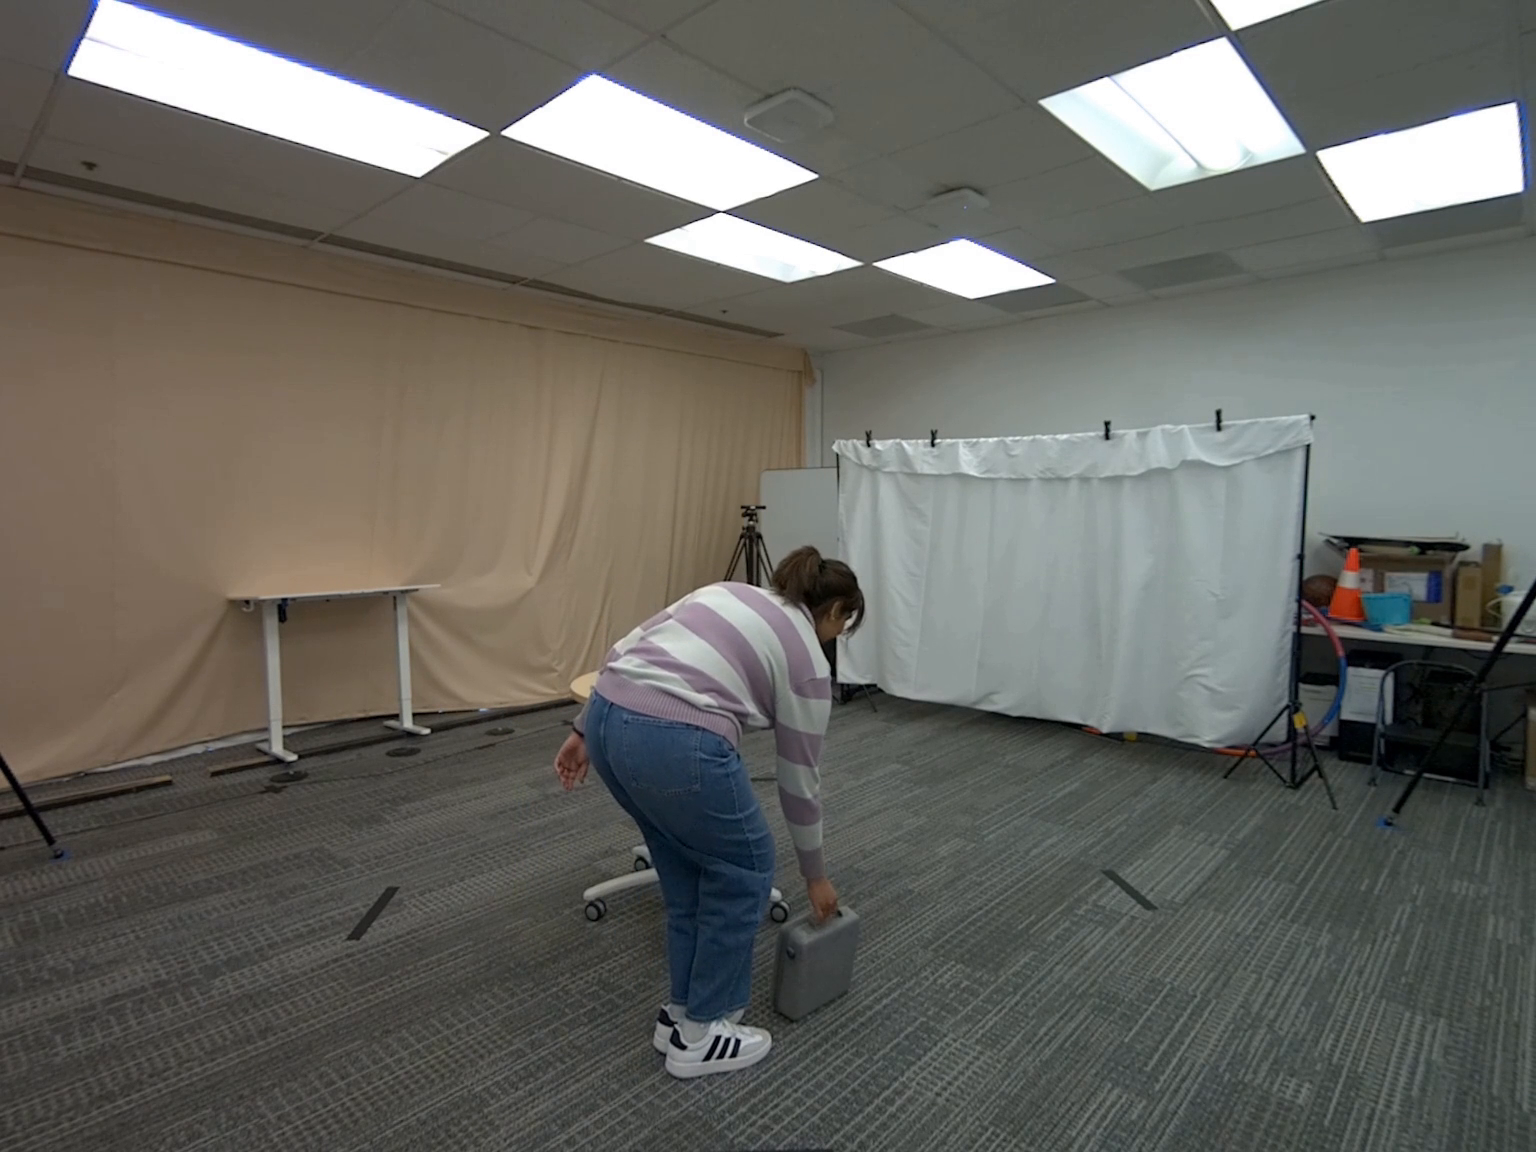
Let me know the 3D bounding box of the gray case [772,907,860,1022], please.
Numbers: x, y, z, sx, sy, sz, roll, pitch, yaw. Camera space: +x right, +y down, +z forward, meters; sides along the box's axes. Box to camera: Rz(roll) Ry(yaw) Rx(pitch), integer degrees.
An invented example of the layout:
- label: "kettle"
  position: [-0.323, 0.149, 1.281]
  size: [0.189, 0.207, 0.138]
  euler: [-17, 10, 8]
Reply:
- label: "gray case"
  position: [0.136, 1.060, 2.349]
  size: [0.249, 0.259, 0.108]
  euler: [-4, 13, -41]
